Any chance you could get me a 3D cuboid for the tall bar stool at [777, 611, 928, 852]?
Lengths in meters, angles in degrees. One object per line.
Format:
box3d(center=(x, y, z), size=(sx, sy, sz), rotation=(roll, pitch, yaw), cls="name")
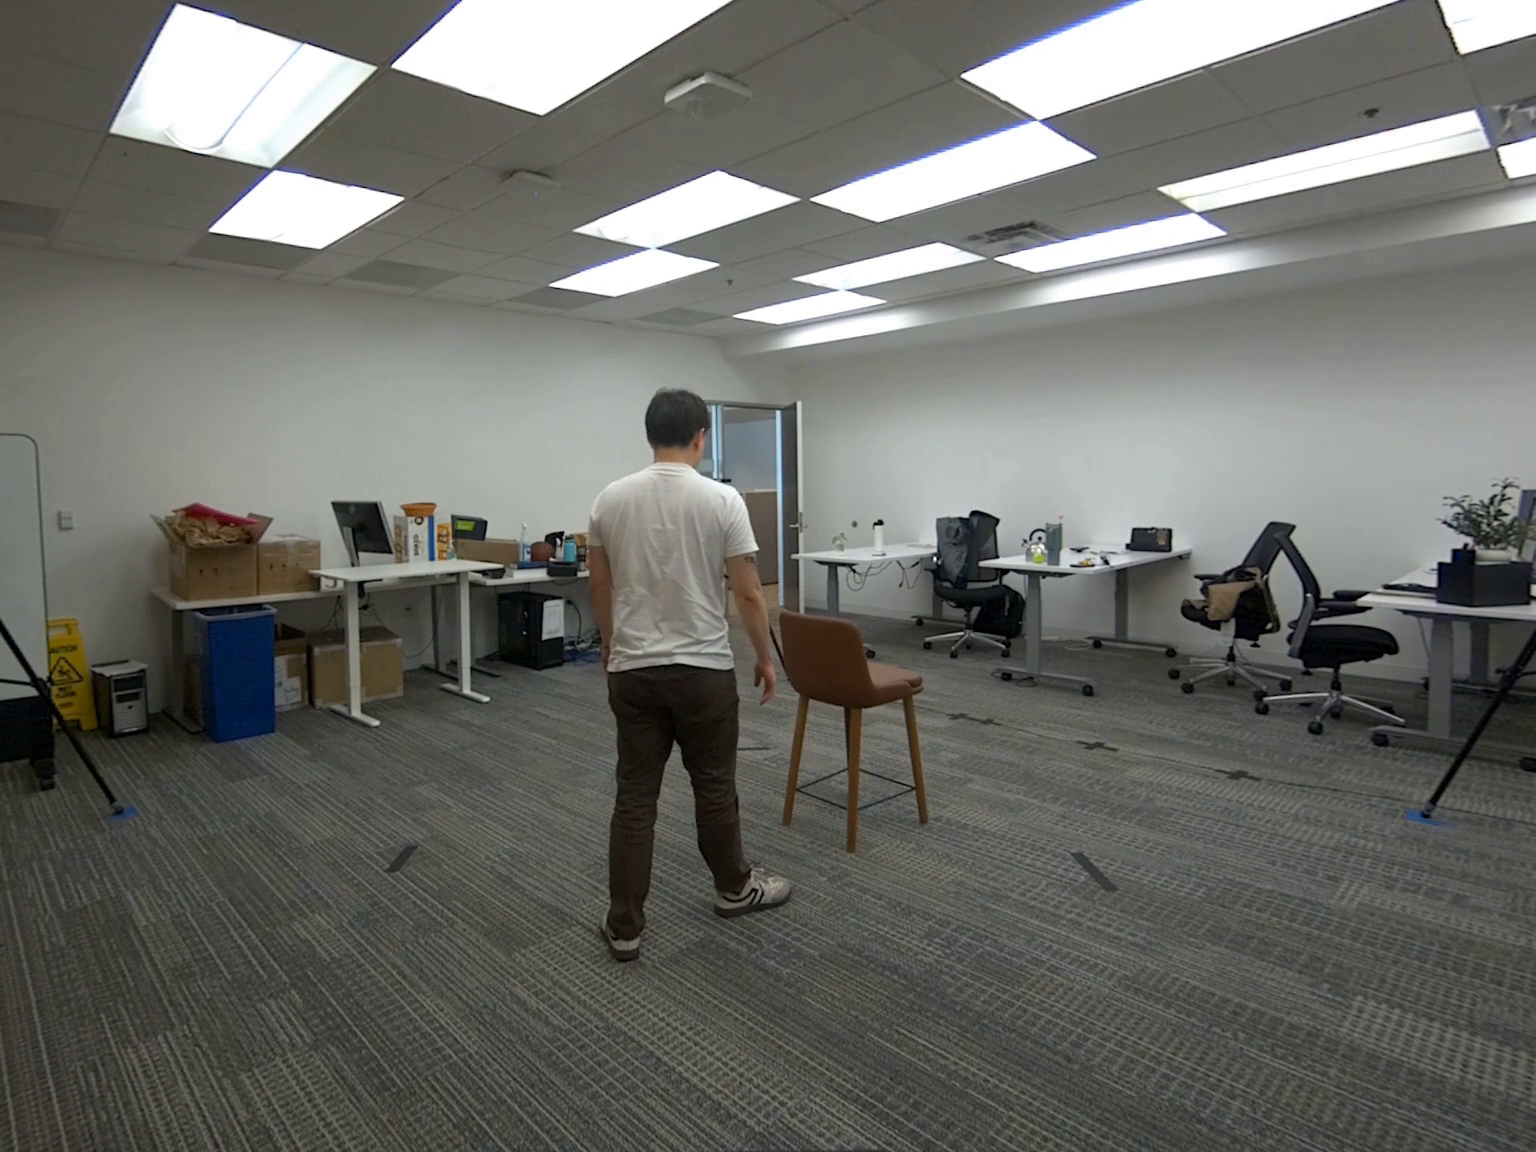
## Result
box3d(center=(0.340, 0.569, 3.434), size=(0.456, 0.886, 0.470), rotation=(-6, 7, -41), cls="tall bar stool")
